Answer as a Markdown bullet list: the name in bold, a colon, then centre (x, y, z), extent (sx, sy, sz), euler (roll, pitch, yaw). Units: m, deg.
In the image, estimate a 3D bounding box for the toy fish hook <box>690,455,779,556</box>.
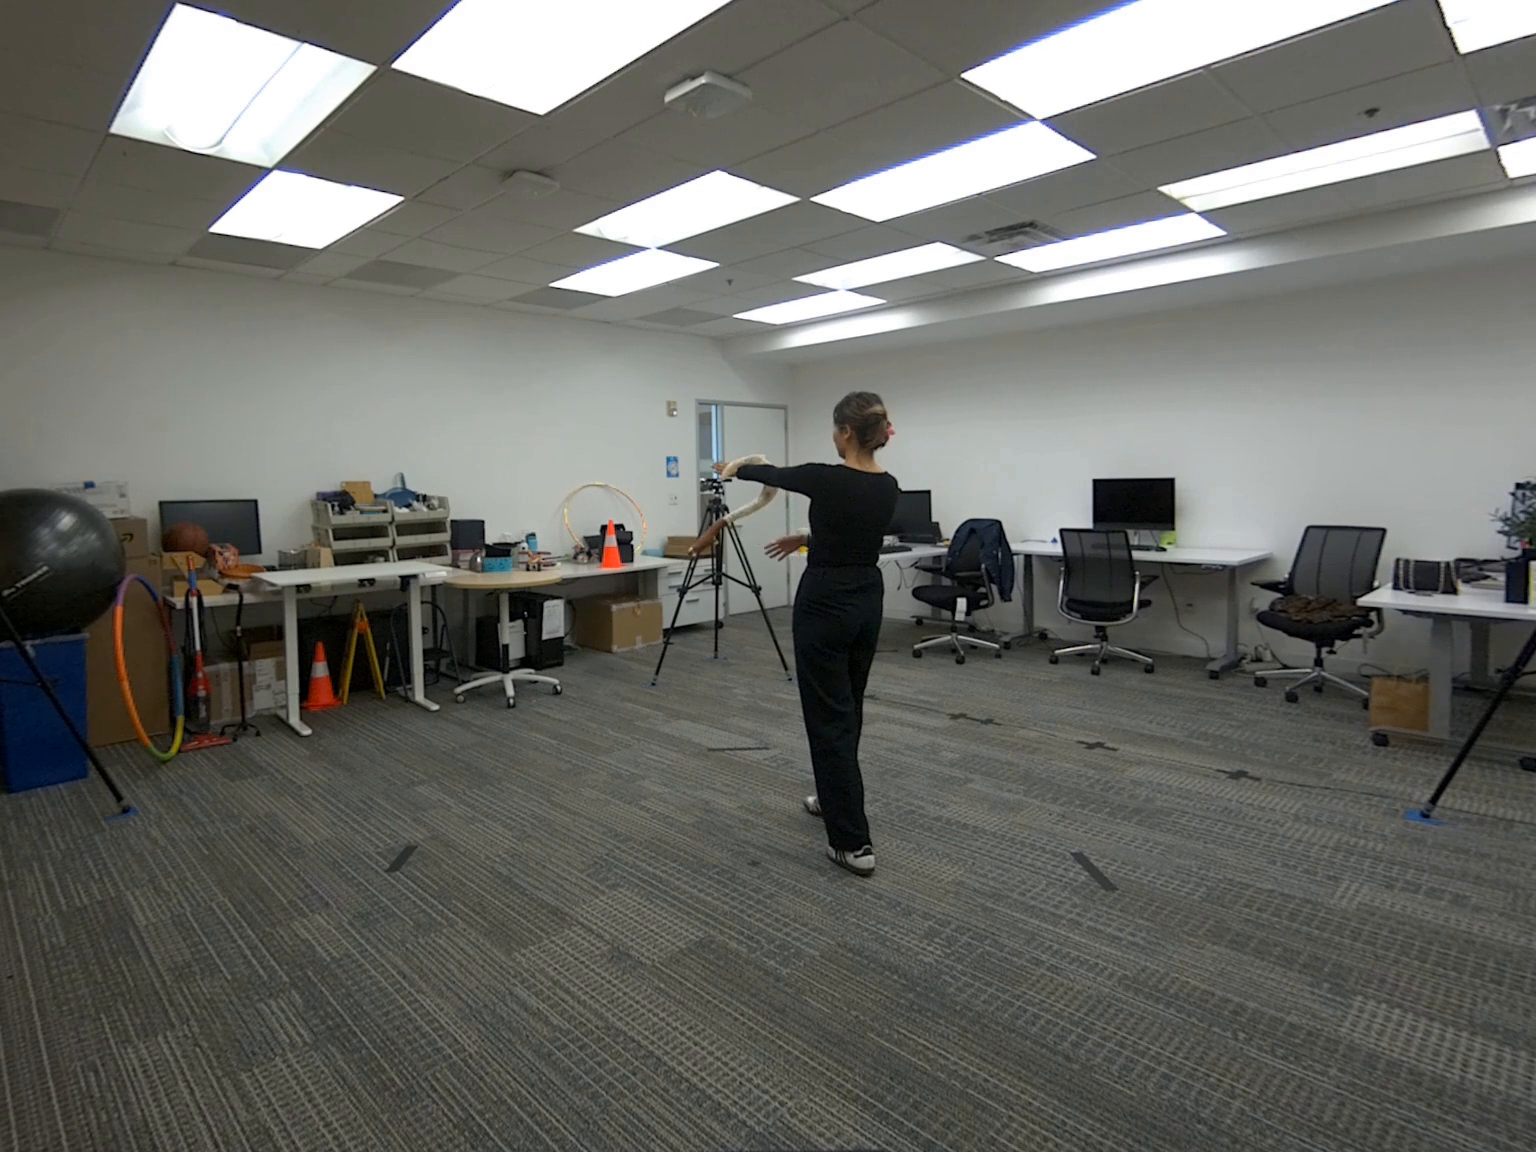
- **toy fish hook**: centre (-0.156, -0.289, 3.475), extent (0.506, 0.226, 0.048), euler (-45, -6, -11)
